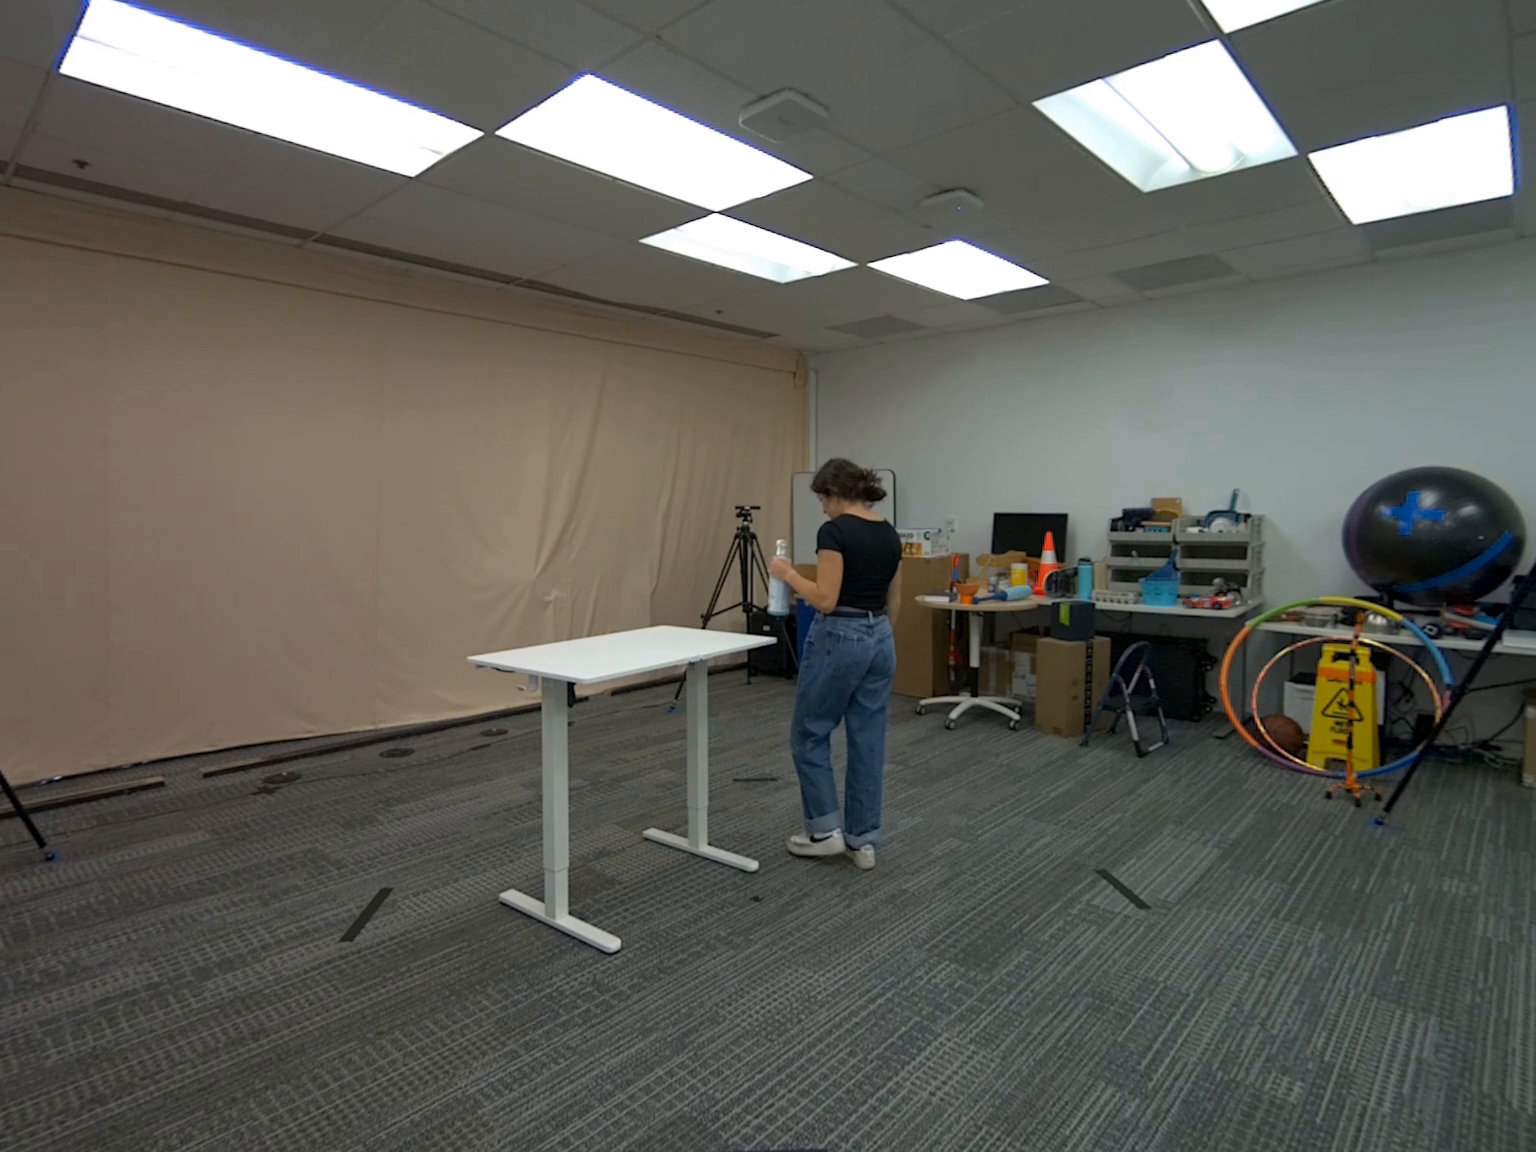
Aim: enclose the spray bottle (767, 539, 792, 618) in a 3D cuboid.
[{"bbox_3d":[0.055,0.008,3.335,0.090,0.296,0.087,11,13,42],"label":"spray bottle"}]
